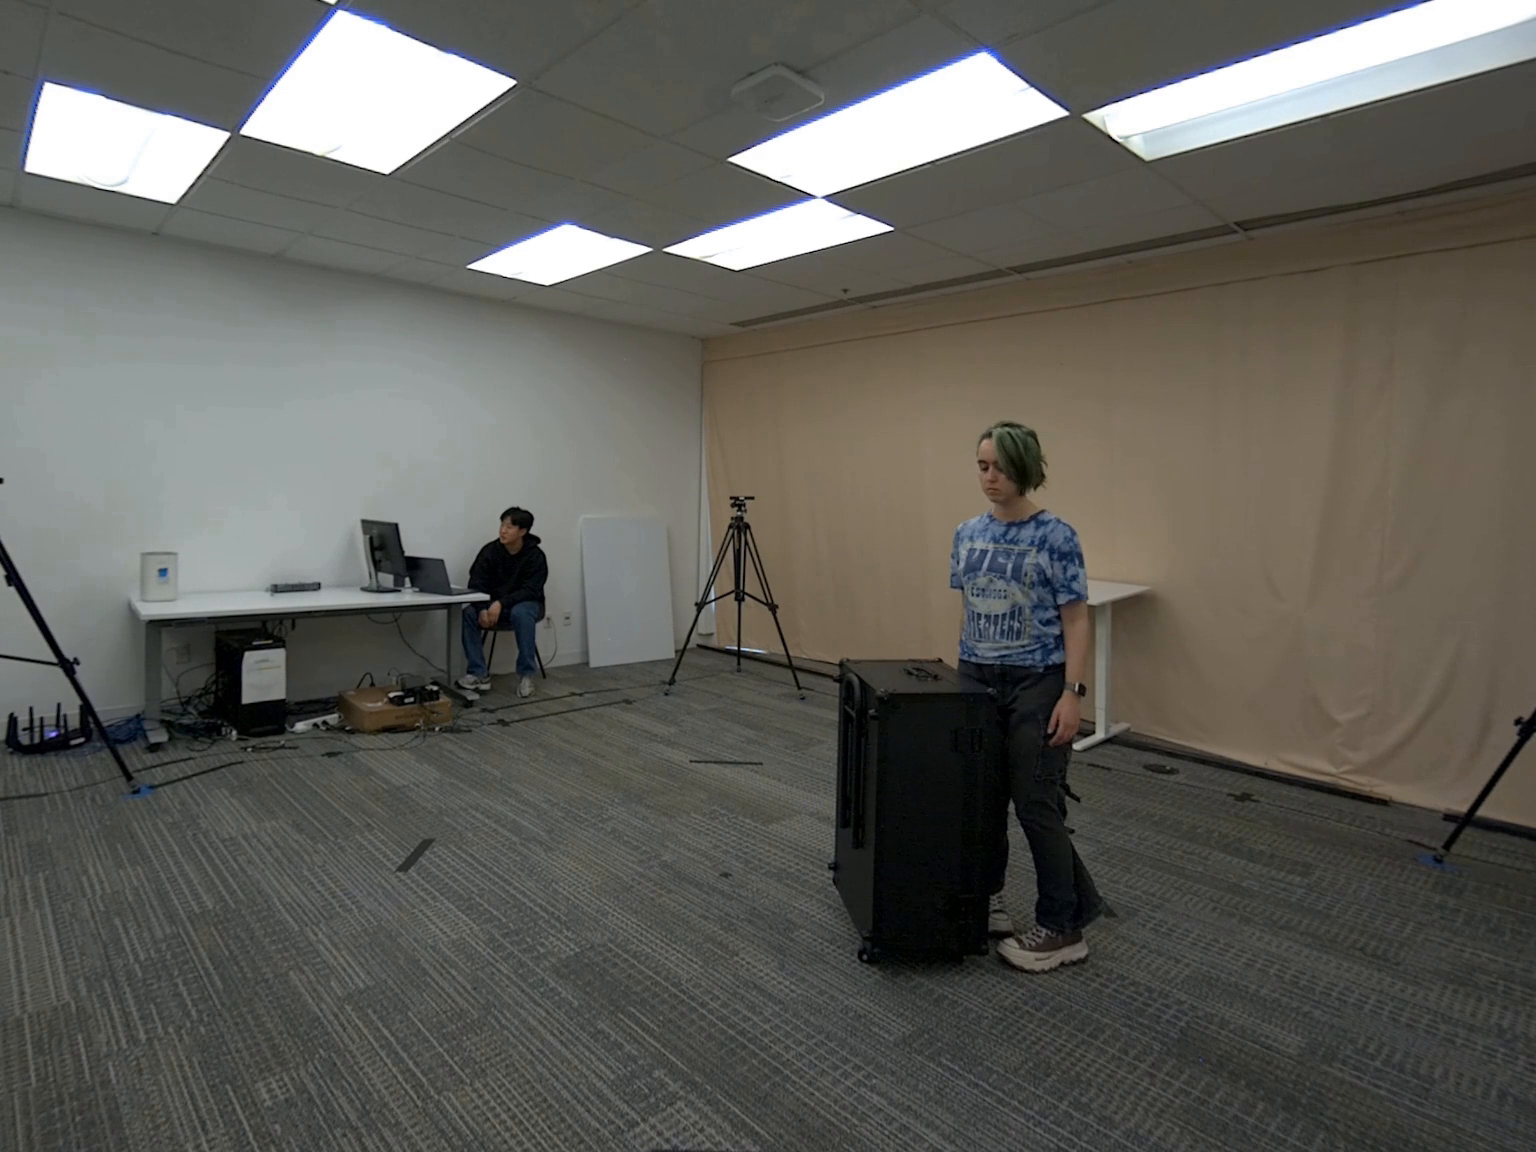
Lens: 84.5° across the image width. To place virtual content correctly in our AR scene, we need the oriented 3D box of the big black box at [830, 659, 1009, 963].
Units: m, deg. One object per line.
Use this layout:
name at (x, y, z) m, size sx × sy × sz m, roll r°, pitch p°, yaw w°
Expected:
big black box at (0.431, 0.737, 2.657) m, size 0.394 × 0.859 × 0.525 m, roll 0°, pitch 4°, yaw -7°
